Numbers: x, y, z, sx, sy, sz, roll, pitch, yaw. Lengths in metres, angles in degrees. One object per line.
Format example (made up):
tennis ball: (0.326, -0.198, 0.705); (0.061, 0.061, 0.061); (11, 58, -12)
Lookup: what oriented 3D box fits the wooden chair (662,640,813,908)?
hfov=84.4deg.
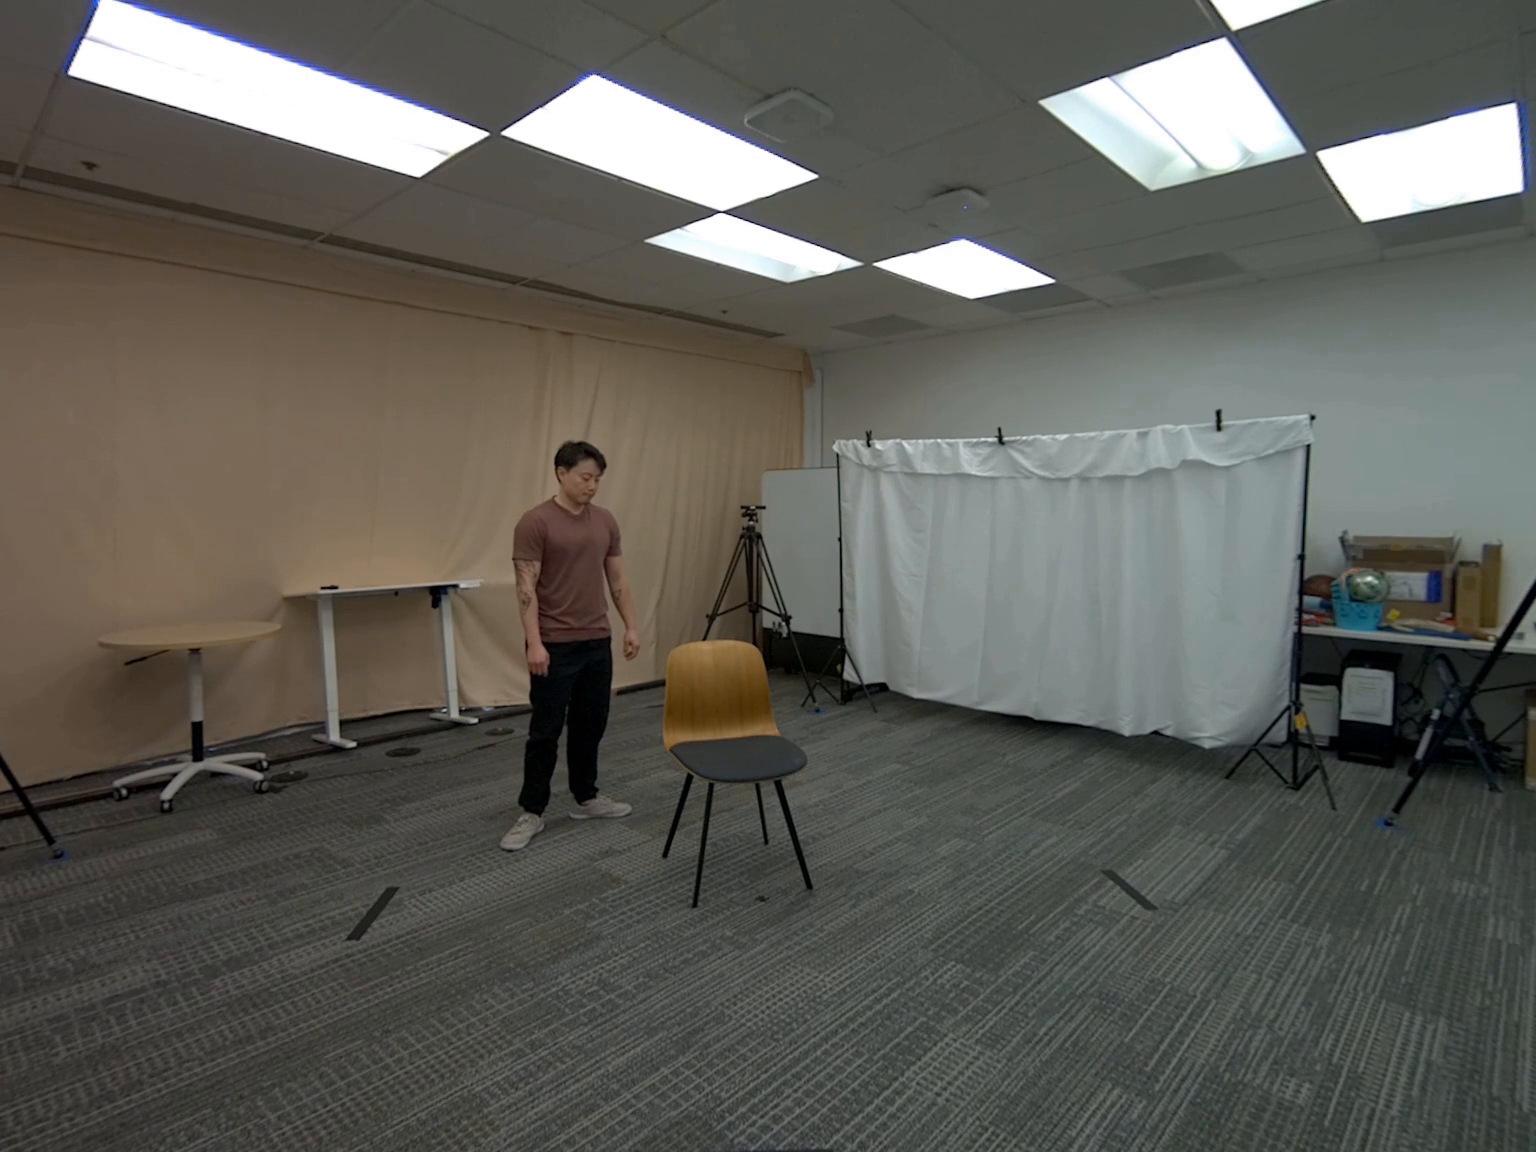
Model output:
wooden chair: (-0.127, 0.704, 3.160); (0.469, 0.878, 0.533); (-1, -1, -20)
